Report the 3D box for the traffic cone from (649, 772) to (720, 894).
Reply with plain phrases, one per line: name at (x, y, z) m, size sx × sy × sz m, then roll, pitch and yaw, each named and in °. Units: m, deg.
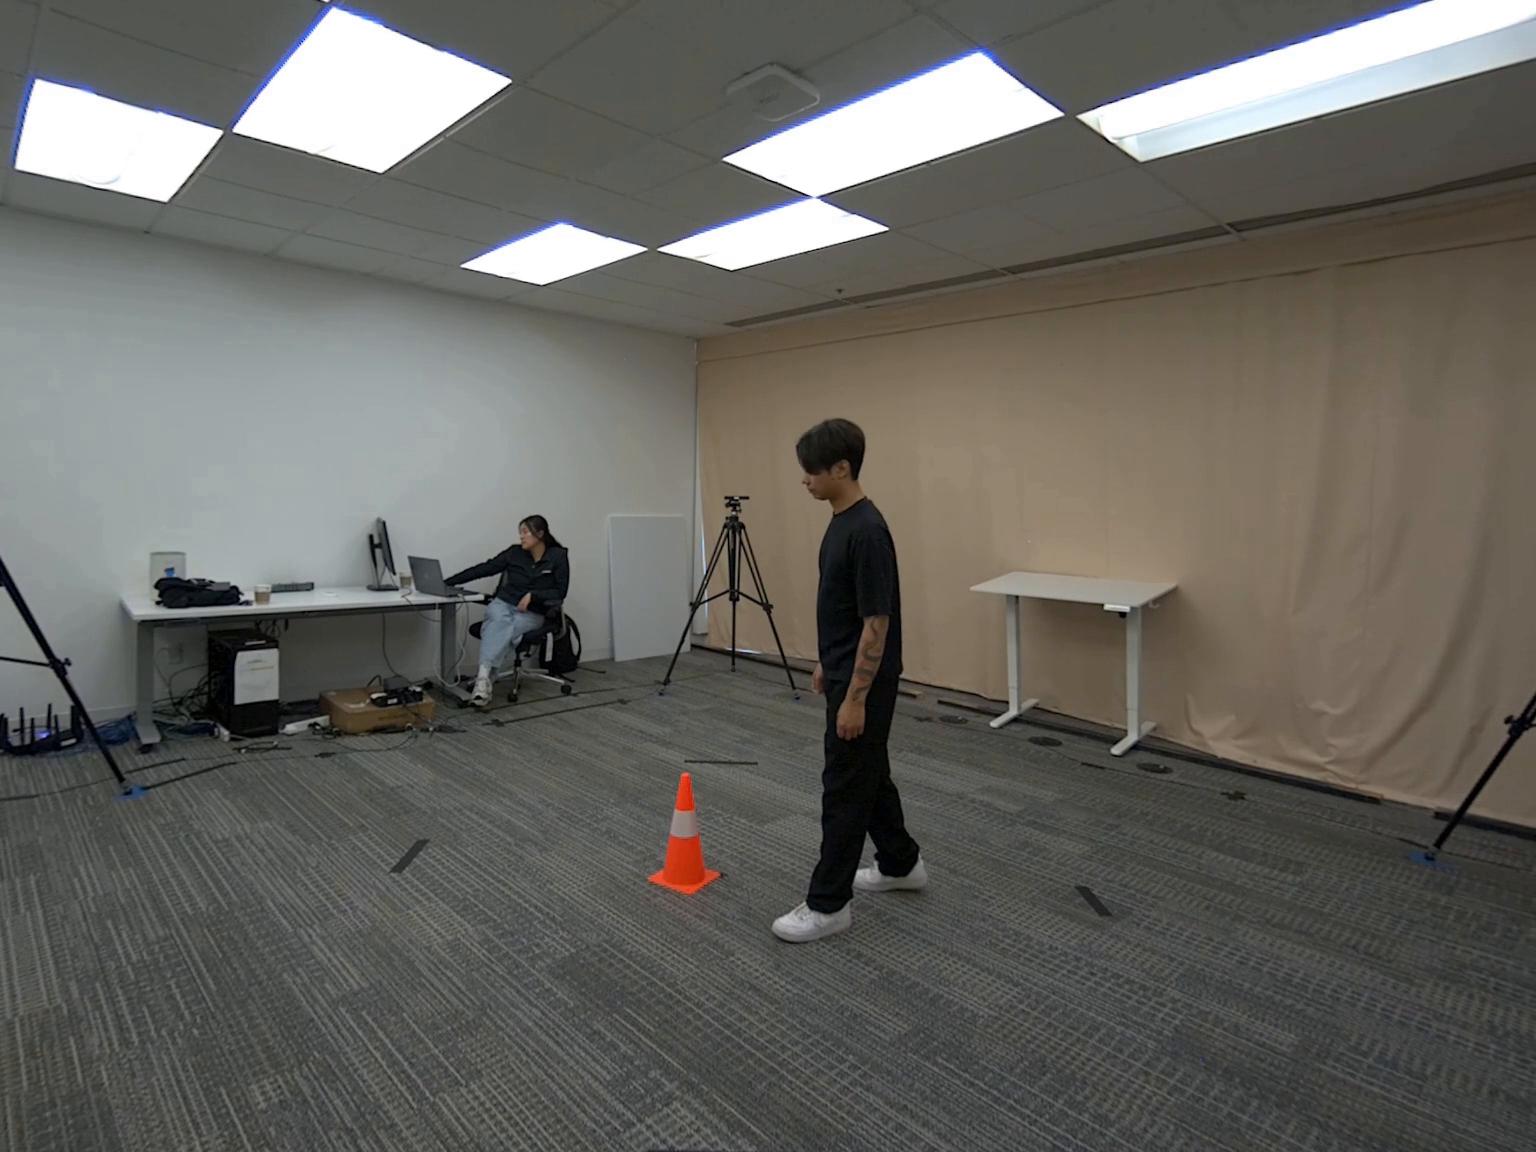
traffic cone at (-0.301, 0.919, 3.074) m, size 0.208 × 0.383 × 0.201 m, roll 4°, pitch 4°, yaw 31°
